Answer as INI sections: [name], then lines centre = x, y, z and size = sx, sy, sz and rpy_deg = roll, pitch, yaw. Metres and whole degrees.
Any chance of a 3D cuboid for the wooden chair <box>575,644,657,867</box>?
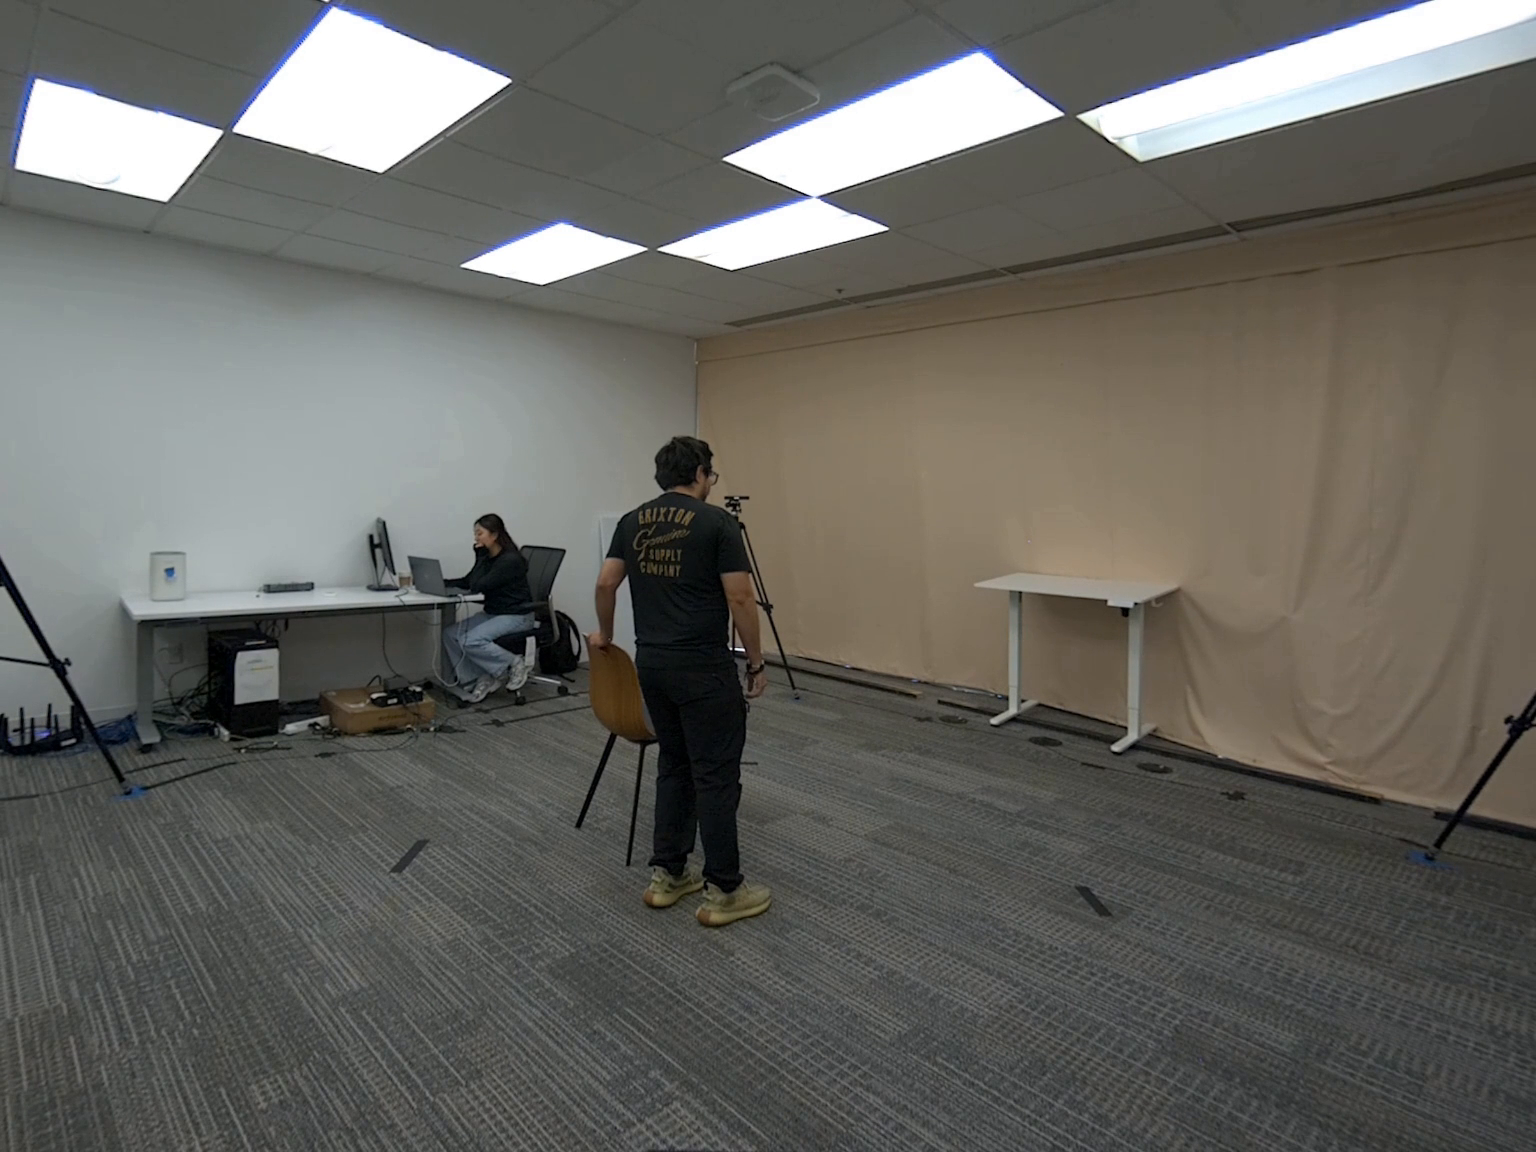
[wooden chair]
centre = -0.480, 0.640, 3.448
size = 0.512, 0.873, 0.490
rpy_deg = -6, 8, -37
